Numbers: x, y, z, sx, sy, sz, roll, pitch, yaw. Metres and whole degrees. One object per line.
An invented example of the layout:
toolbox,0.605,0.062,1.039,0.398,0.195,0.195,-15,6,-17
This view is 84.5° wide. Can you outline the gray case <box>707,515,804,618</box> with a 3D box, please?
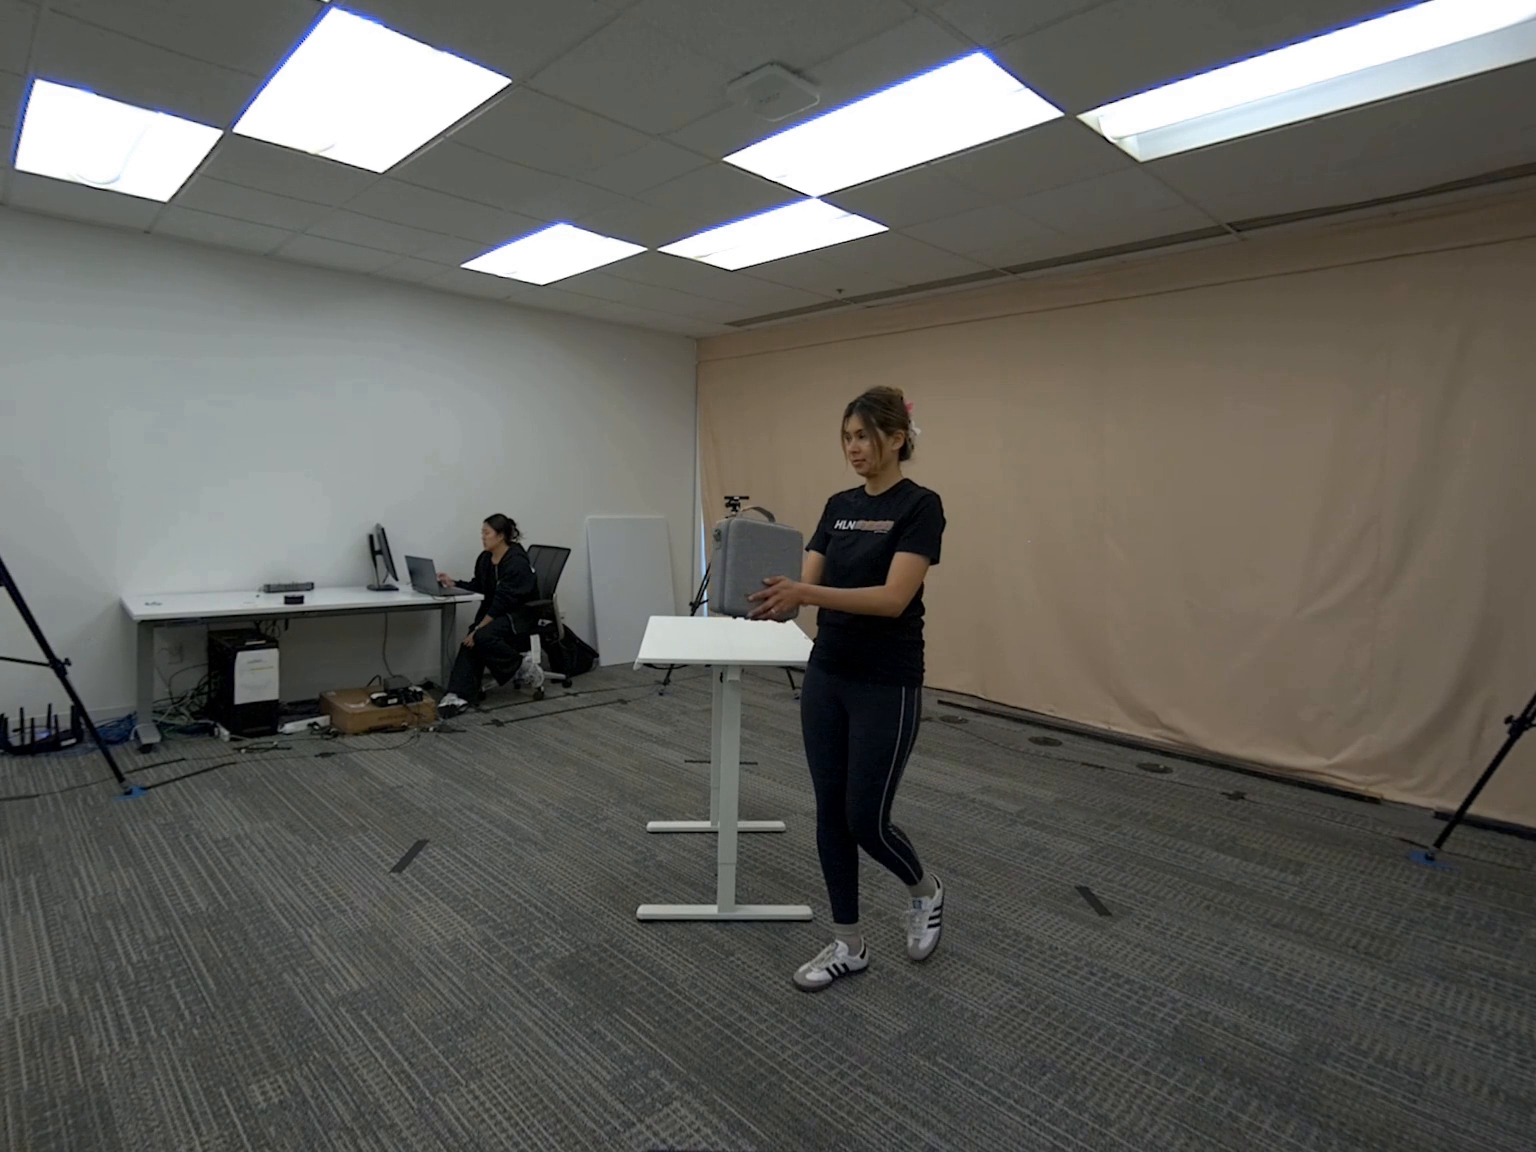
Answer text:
gray case,-0.034,-0.017,2.223,0.250,0.262,0.106,10,-9,-38
